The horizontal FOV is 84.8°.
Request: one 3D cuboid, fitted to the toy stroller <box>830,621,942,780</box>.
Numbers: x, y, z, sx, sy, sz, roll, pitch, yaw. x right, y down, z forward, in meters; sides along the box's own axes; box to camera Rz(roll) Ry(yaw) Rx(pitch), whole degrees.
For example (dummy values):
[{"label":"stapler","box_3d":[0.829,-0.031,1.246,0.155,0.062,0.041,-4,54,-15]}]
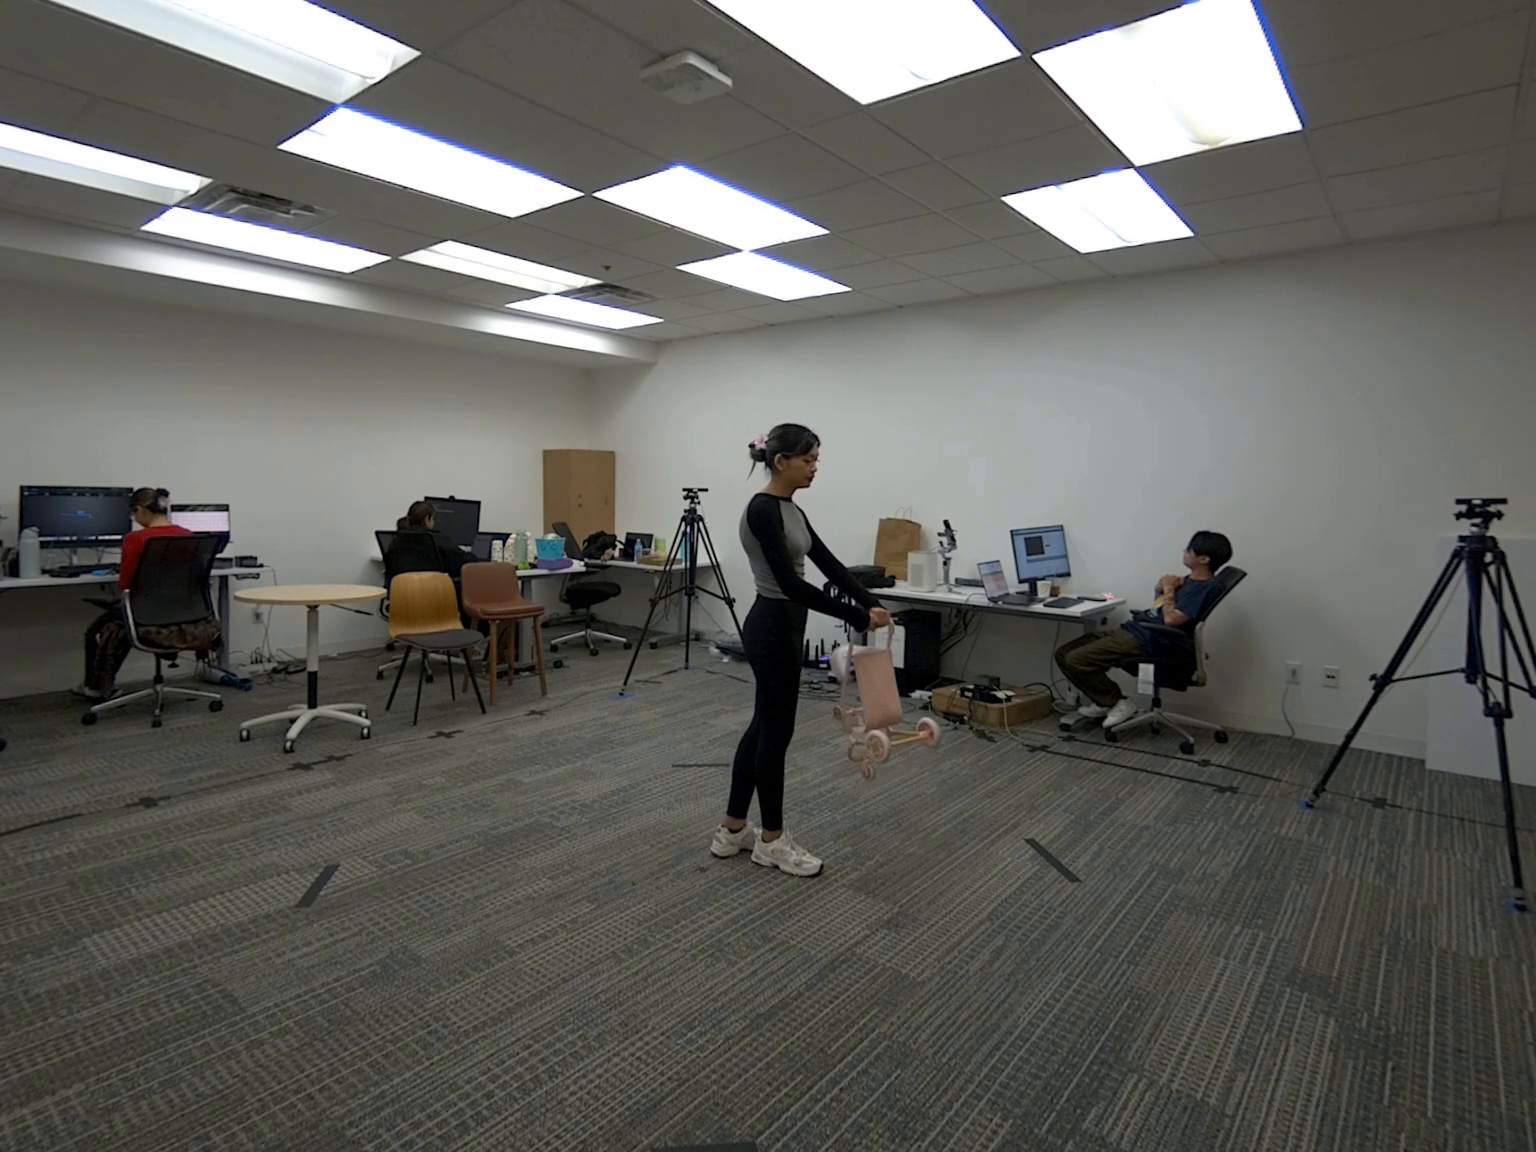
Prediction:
[{"label":"toy stroller","box_3d":[0.370,0.464,3.111,0.275,0.545,0.343,-8,-17,-31]}]
